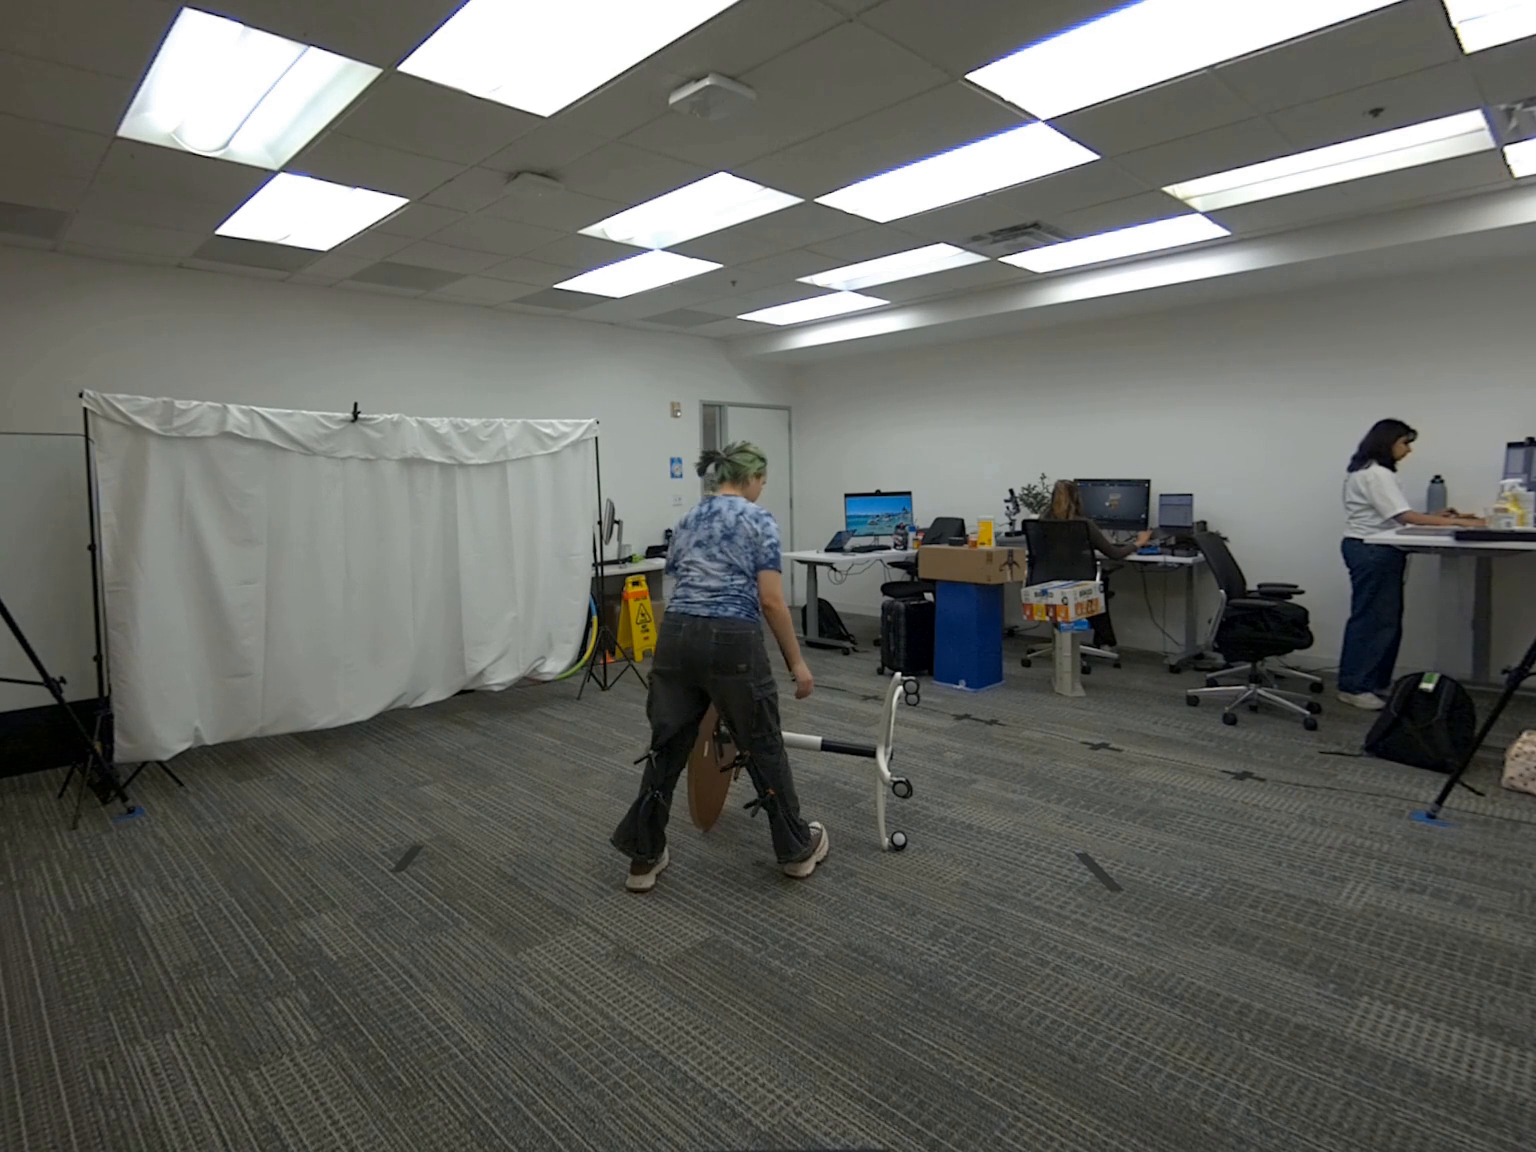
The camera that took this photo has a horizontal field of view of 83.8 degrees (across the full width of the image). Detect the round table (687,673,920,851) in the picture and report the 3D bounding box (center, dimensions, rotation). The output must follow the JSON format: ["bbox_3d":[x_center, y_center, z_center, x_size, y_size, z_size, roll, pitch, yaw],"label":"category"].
[{"bbox_3d":[0.174,0.664,3.376,0.805,0.761,0.757,5,6,13],"label":"round table"}]
